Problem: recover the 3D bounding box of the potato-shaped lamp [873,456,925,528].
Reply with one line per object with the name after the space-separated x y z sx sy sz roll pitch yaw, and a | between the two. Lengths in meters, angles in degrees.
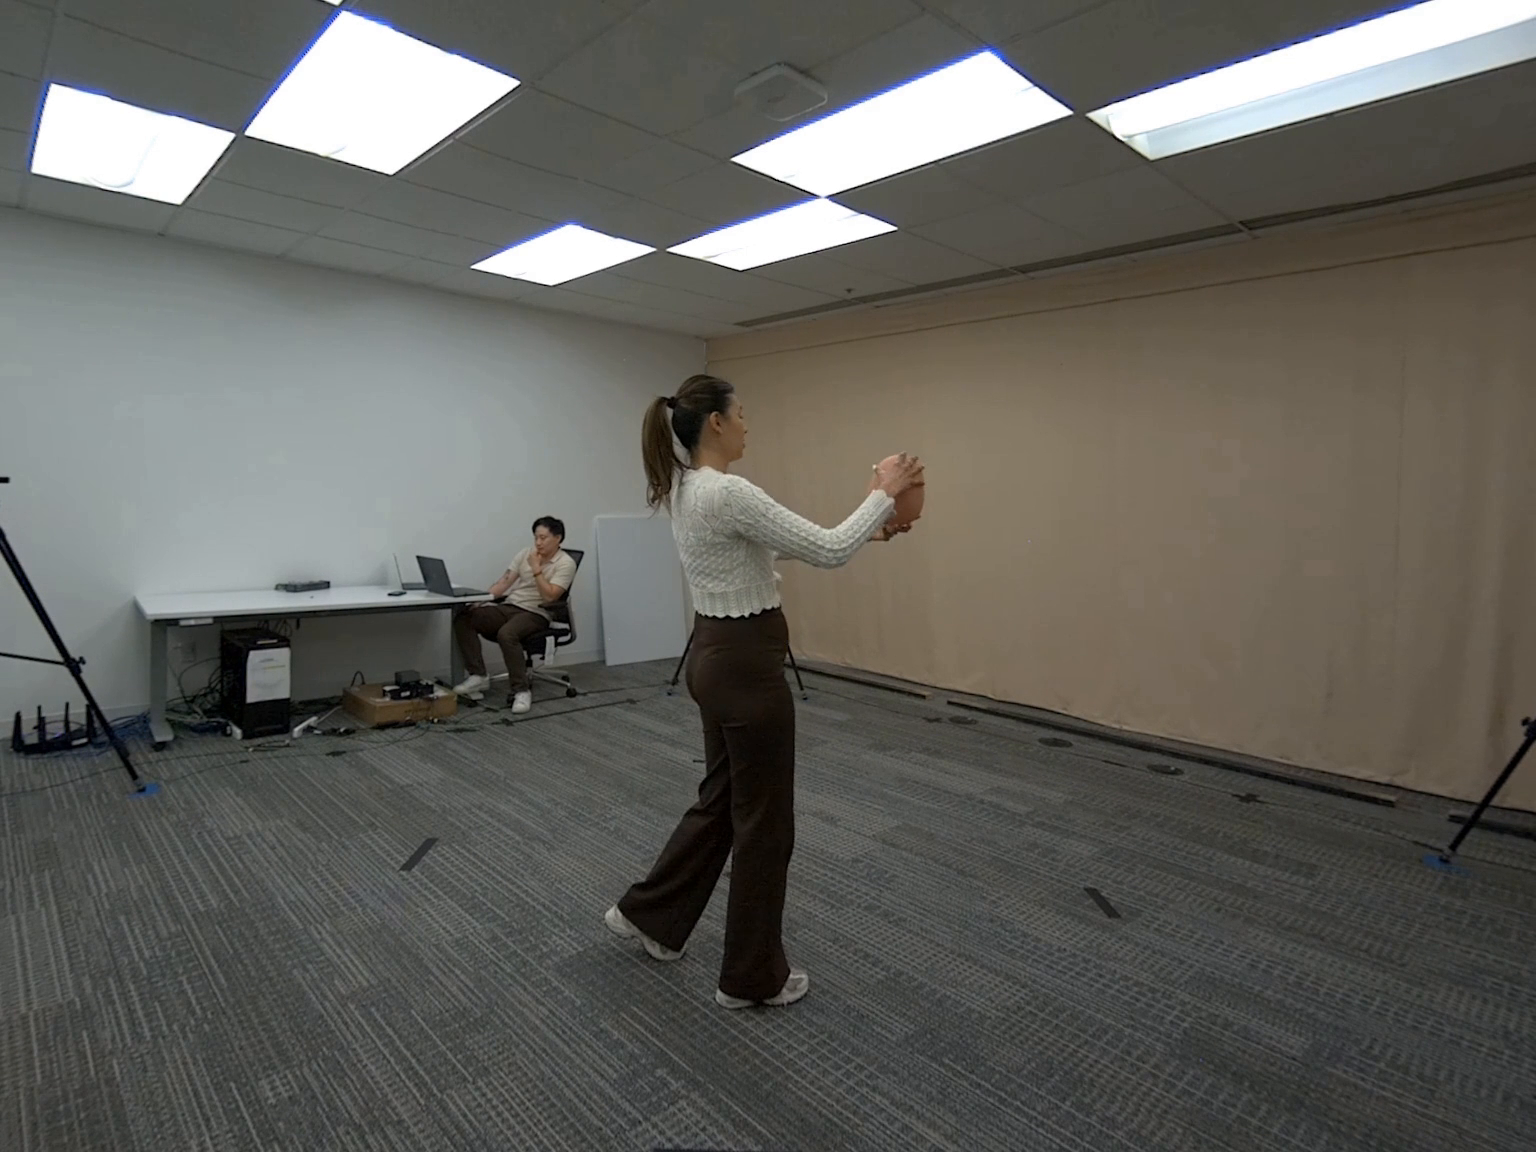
0.366 -0.247 2.387 0.166 0.194 0.173 10 33 7 | potato-shaped lamp
